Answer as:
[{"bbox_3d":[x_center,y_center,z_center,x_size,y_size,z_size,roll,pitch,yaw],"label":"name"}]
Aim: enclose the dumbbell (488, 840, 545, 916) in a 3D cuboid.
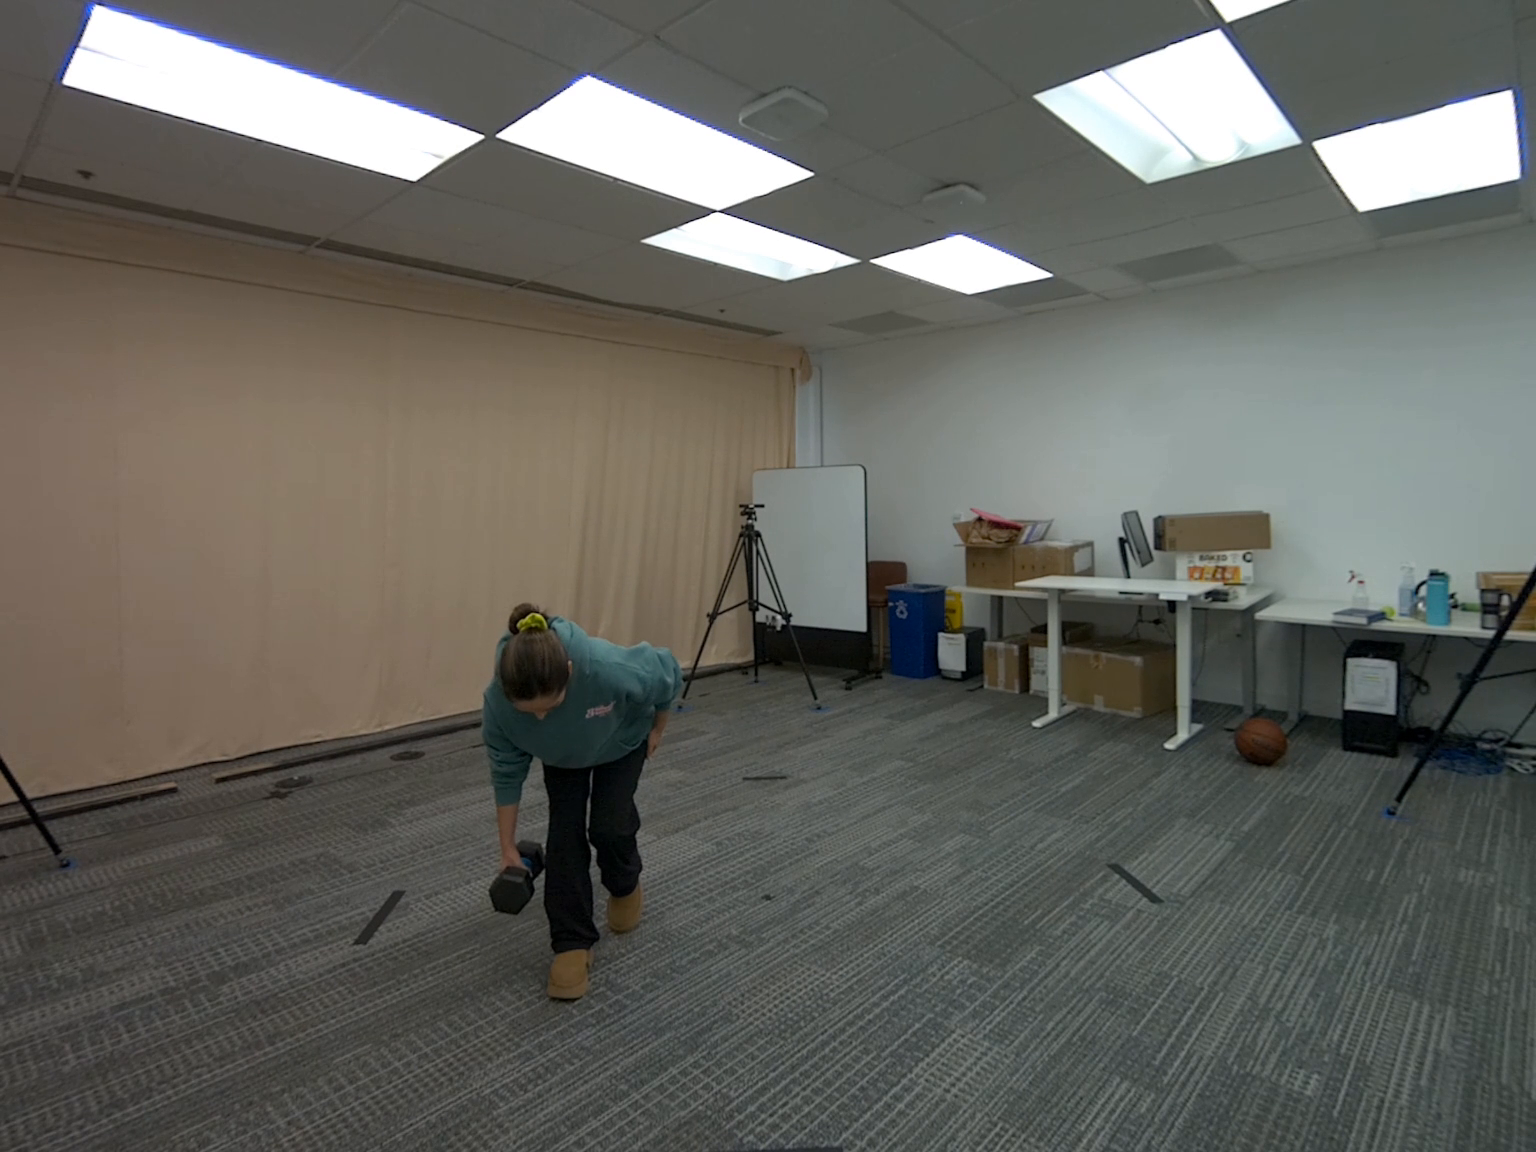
[{"bbox_3d":[-0.725,0.874,2.451,0.108,0.122,0.295,-20,4,-5],"label":"dumbbell"}]
